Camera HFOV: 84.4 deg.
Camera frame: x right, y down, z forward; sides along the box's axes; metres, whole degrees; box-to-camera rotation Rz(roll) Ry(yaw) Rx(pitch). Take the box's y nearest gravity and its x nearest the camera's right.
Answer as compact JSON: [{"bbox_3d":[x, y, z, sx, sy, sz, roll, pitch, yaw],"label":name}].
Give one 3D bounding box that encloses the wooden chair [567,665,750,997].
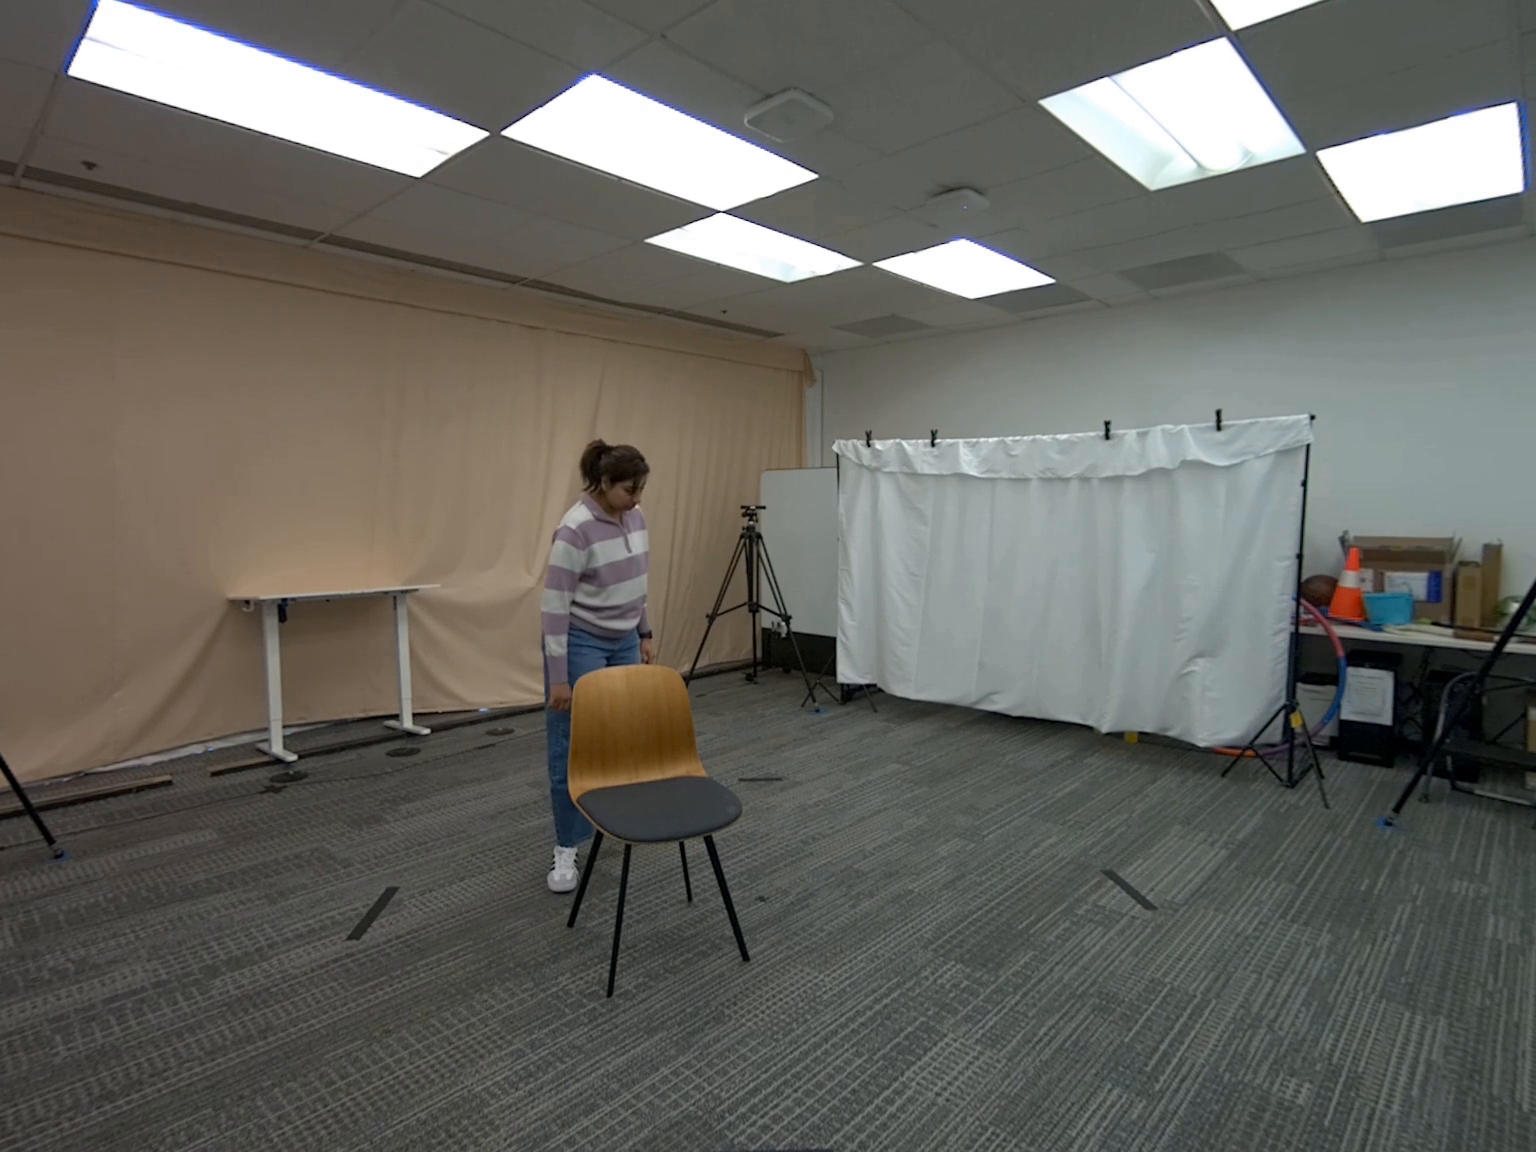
[{"bbox_3d":[-0.353,0.747,2.644,0.466,0.877,0.536,-2,0,-27],"label":"wooden chair"}]
